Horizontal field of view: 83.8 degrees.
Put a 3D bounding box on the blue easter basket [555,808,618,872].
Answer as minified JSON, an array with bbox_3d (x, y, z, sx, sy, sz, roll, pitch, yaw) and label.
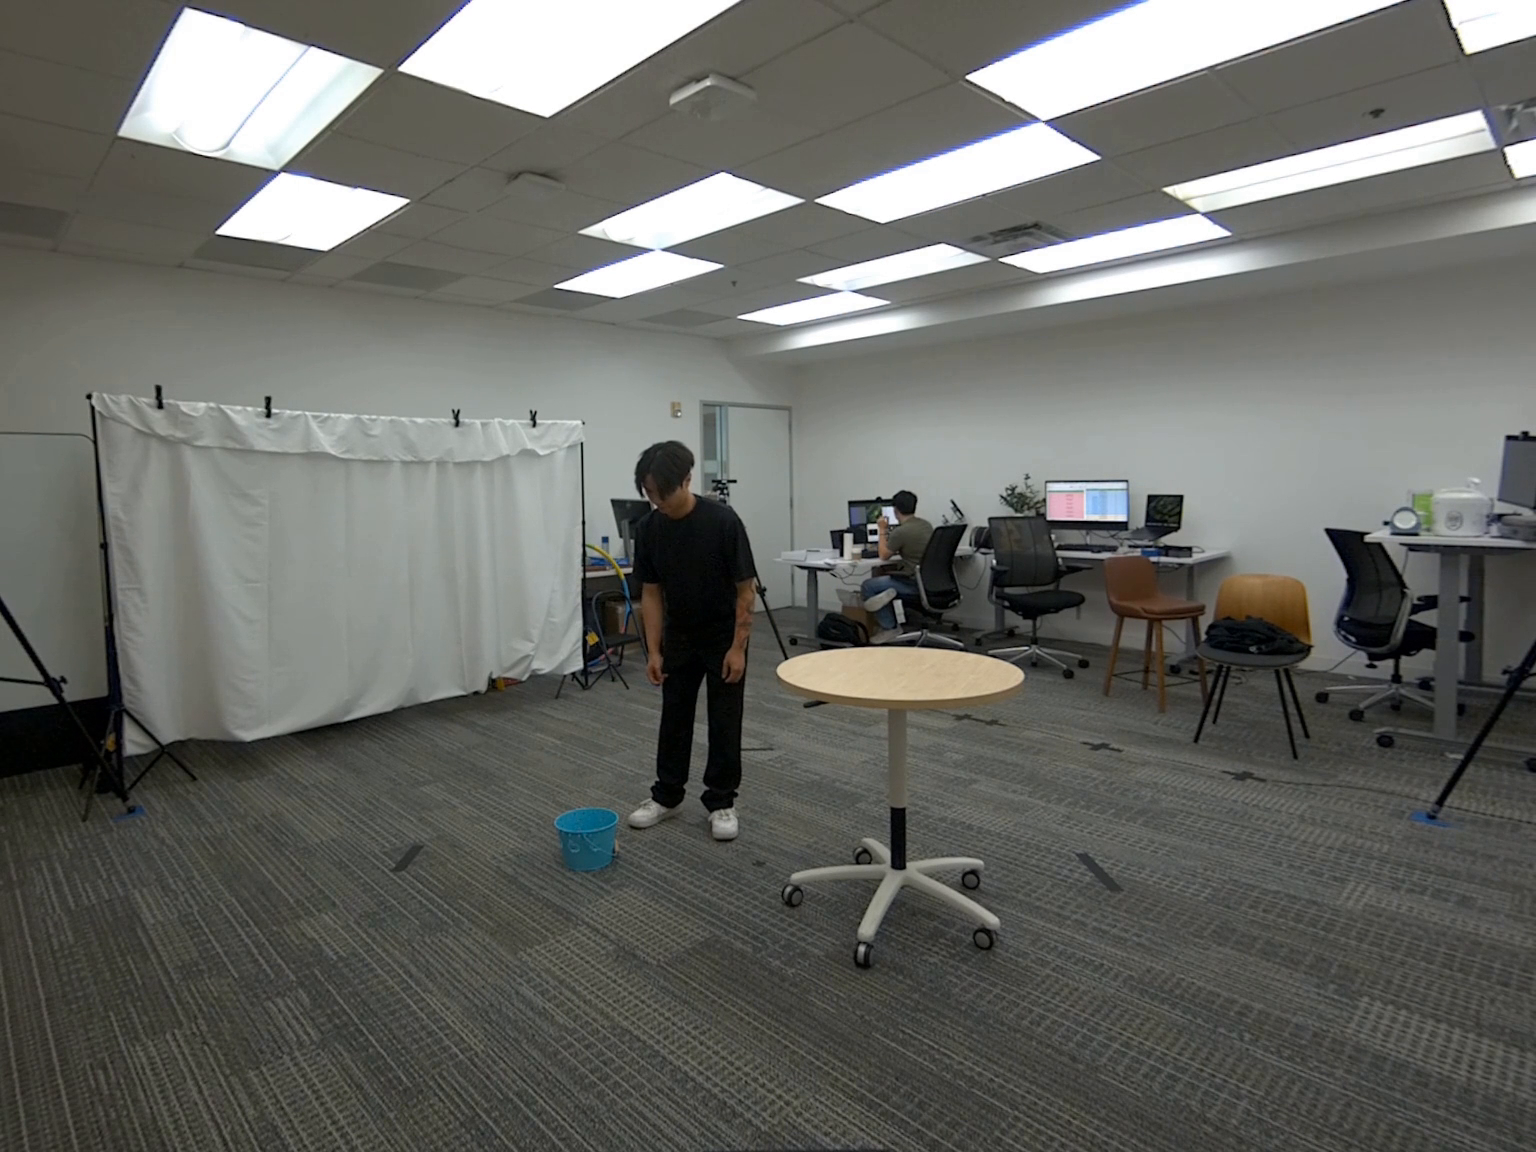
[{"bbox_3d":[-0.664,0.974,3.162,0.243,0.155,0.245,-1,5,-2],"label":"blue easter basket"}]
